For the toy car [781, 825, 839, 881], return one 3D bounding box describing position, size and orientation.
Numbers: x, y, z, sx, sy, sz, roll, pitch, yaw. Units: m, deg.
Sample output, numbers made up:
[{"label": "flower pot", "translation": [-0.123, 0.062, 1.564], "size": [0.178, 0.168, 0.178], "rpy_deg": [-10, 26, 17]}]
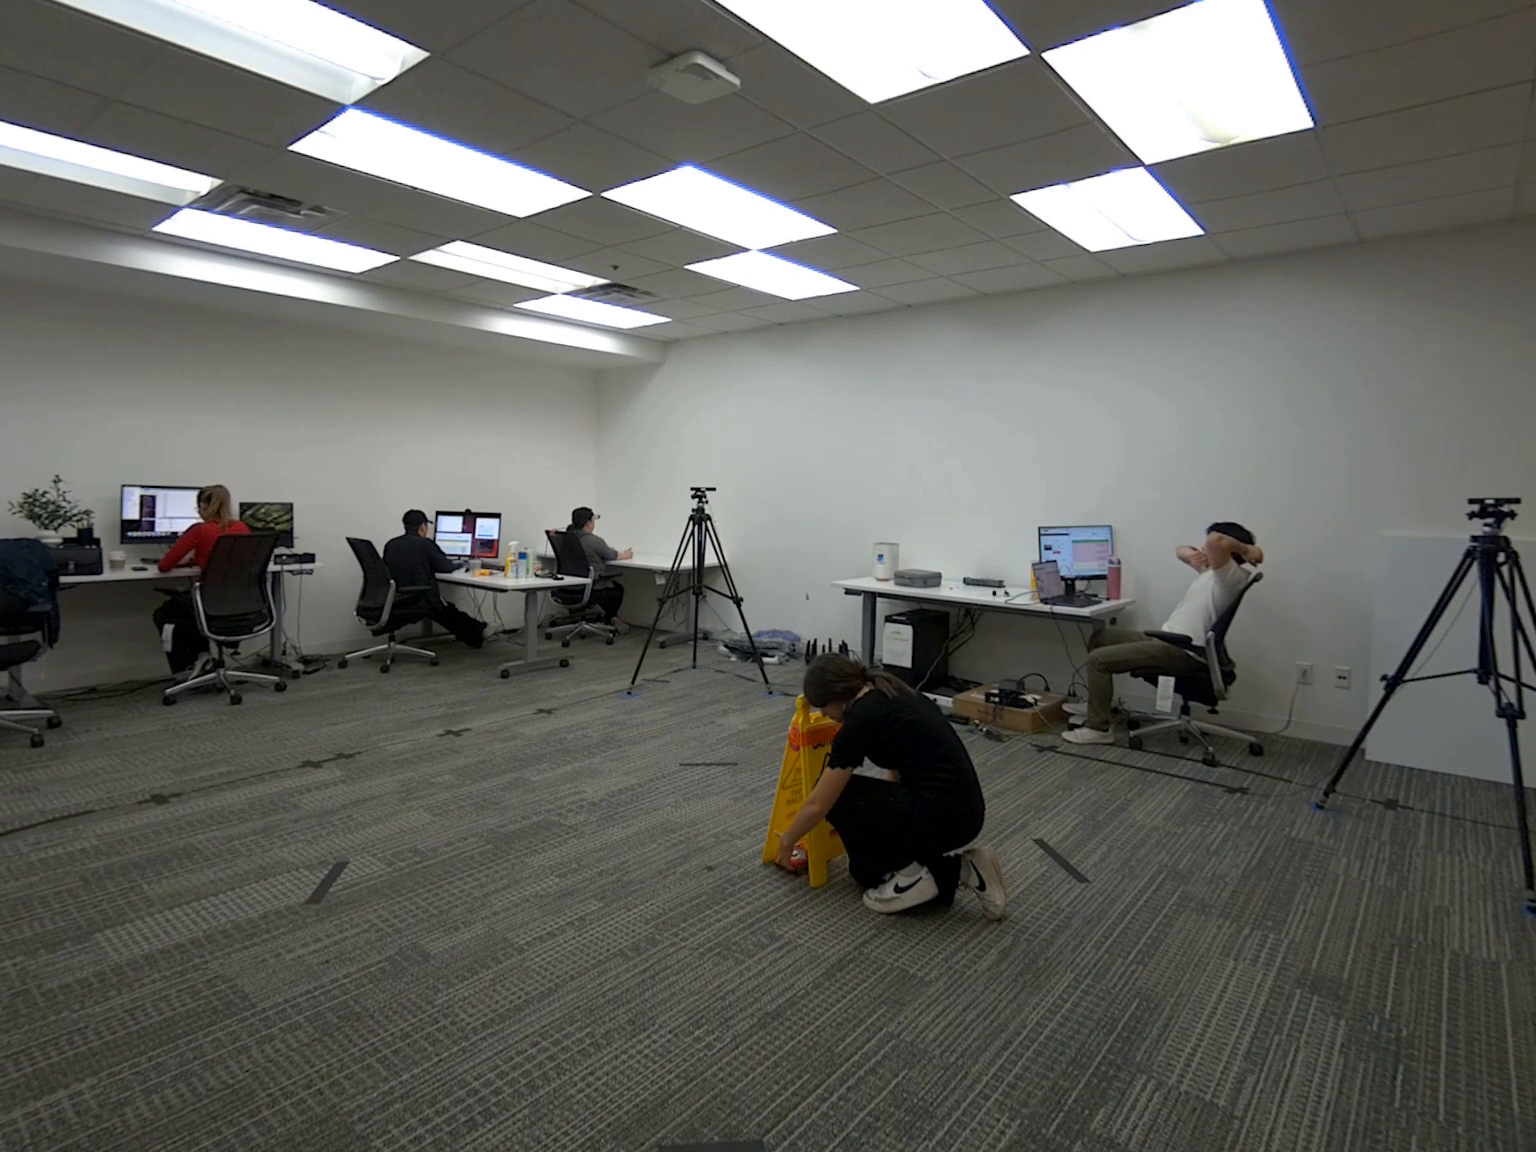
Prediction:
[{"label": "toy car", "translation": [0.154, 1.033, 3.148], "size": [0.133, 0.083, 0.251], "rpy_deg": [-11, 6, 24]}]
